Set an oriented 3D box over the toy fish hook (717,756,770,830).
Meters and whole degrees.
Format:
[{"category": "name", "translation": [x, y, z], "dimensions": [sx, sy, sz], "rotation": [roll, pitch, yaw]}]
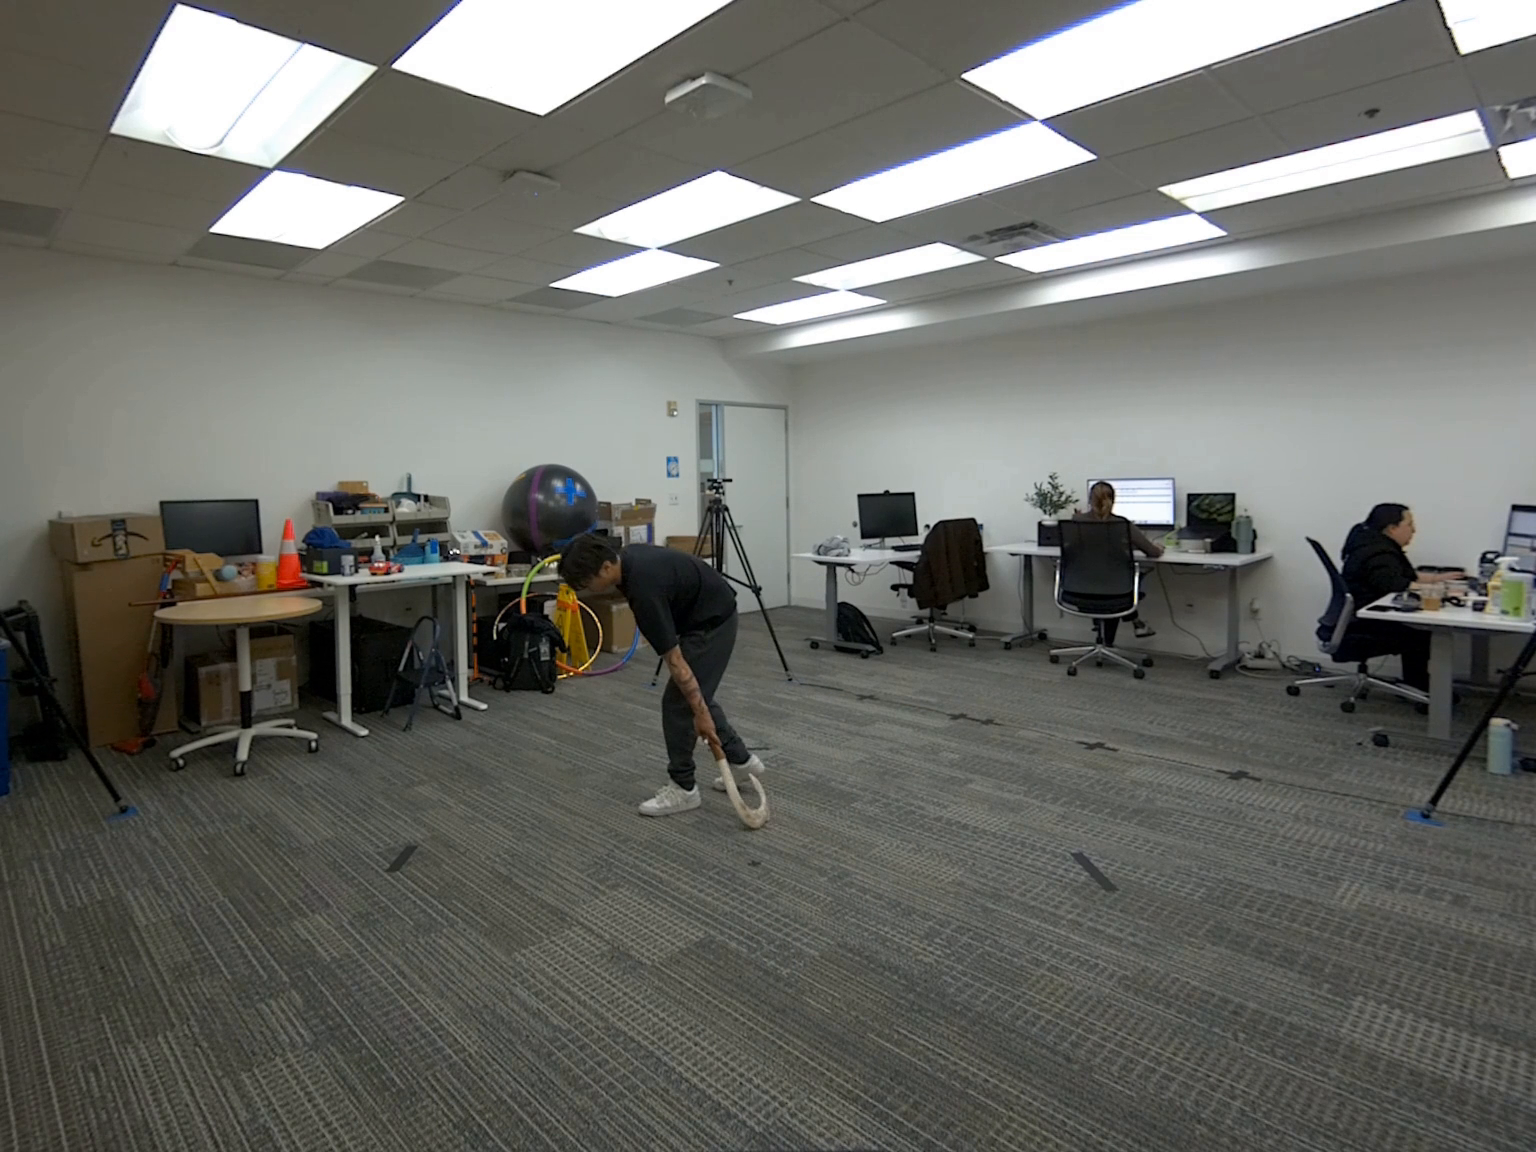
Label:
[{"category": "toy fish hook", "translation": [-0.142, 0.790, 3.511], "dimensions": [0.048, 0.514, 0.220], "rotation": [-34, -11, 24]}]
